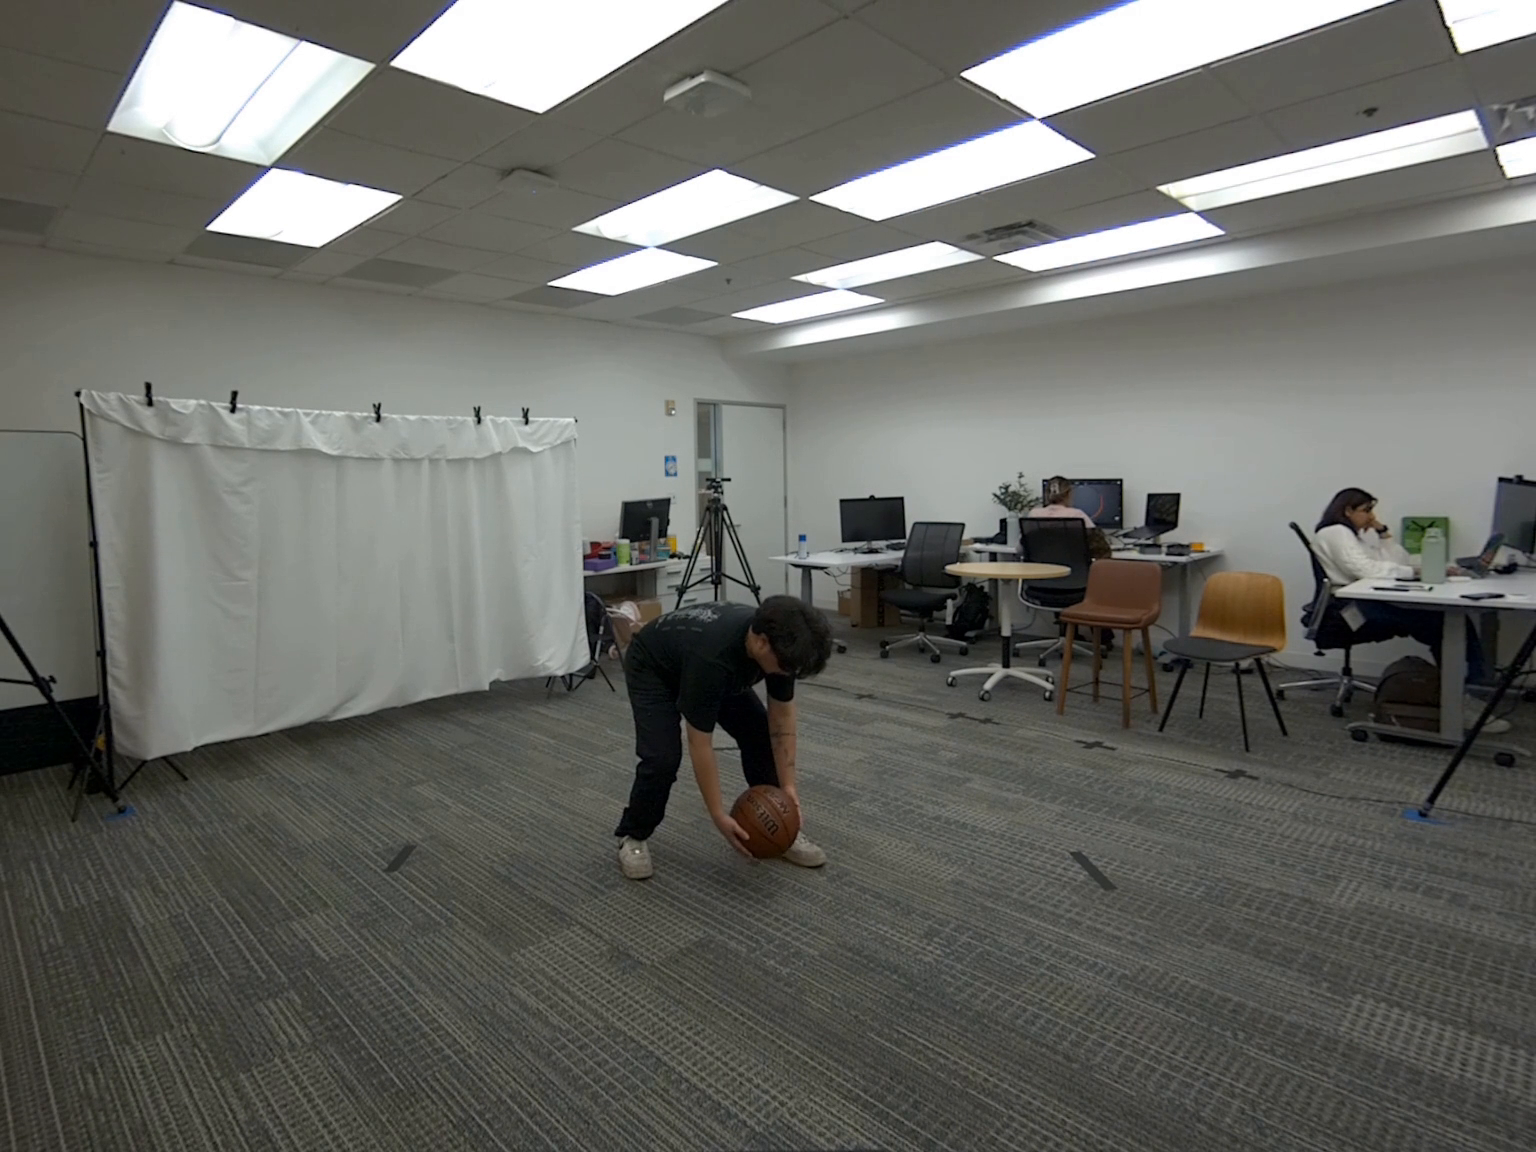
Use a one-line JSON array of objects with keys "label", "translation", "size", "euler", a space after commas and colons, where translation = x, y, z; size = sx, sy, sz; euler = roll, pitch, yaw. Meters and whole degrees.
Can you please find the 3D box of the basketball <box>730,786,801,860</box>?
[{"label": "basketball", "translation": [-0.021, 0.836, 2.898], "size": [0.236, 0.235, 0.237], "euler": [-1, 5, -2]}]
